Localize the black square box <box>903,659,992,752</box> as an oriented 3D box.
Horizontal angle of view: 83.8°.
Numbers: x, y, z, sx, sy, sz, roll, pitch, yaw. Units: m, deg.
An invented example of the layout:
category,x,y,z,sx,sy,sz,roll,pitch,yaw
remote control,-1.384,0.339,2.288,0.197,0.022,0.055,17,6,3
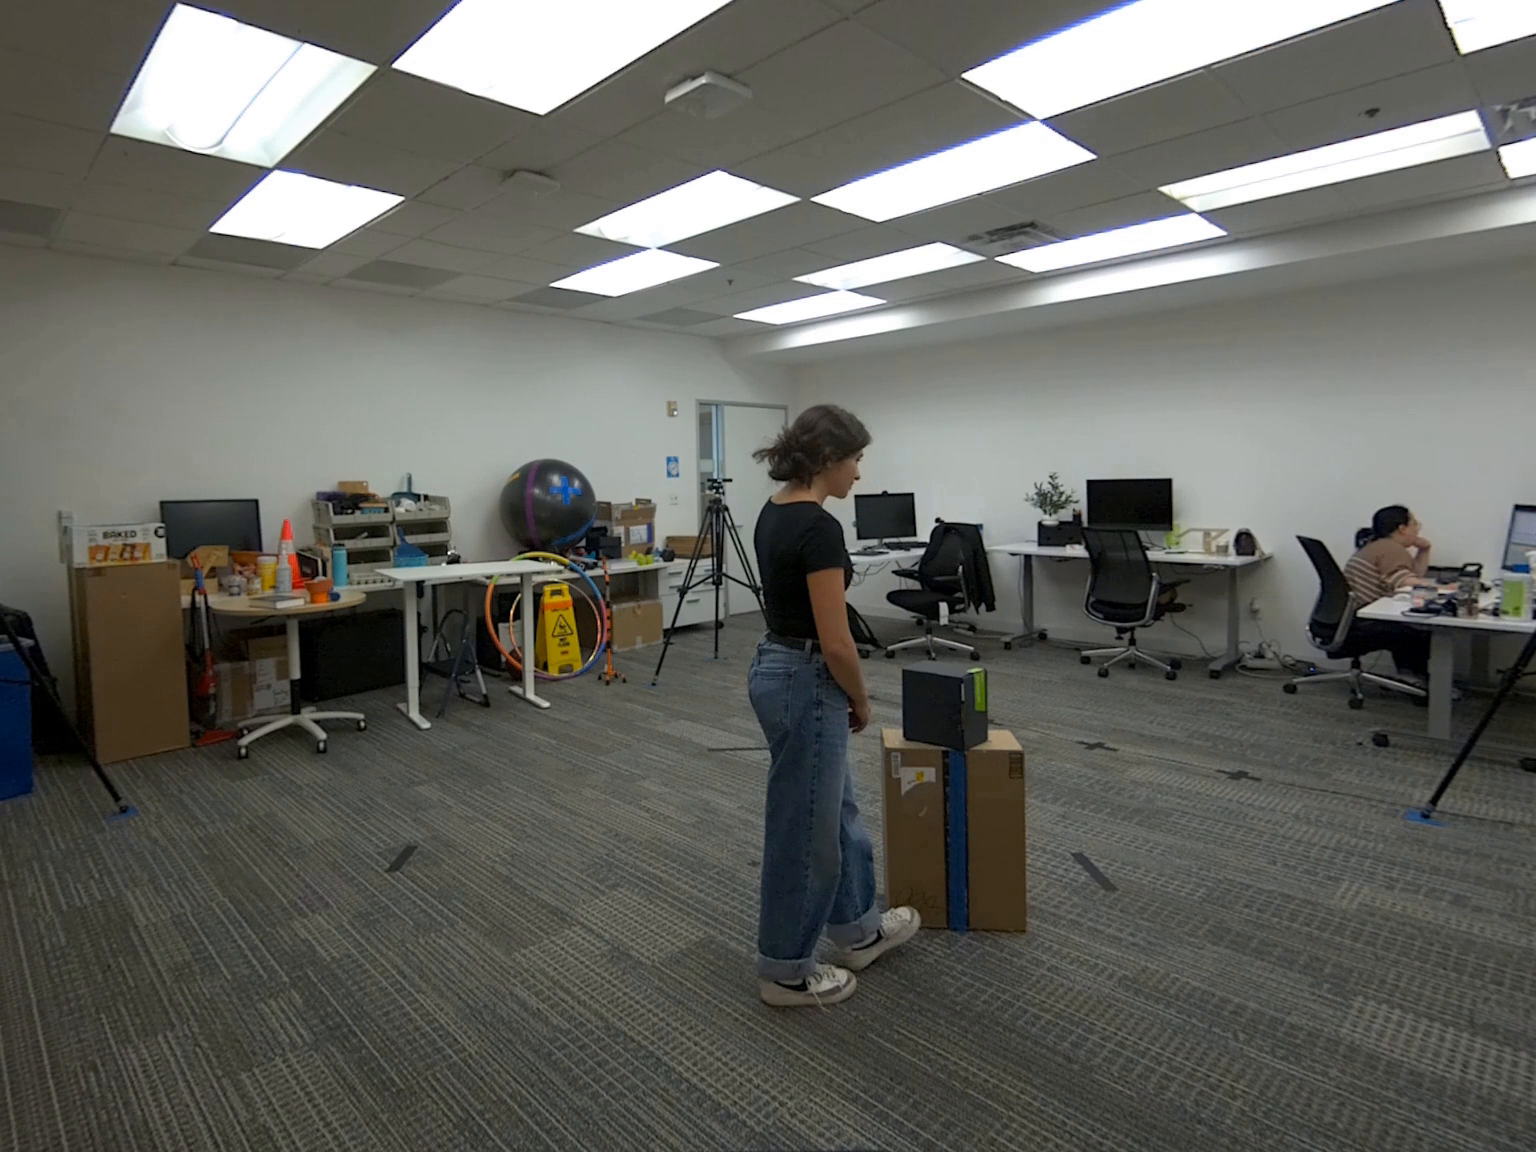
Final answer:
category,x,y,z,sx,sy,sz,roll,pitch,yaw
black square box,0.561,0.398,2.686,0.223,0.227,0.152,3,5,44
